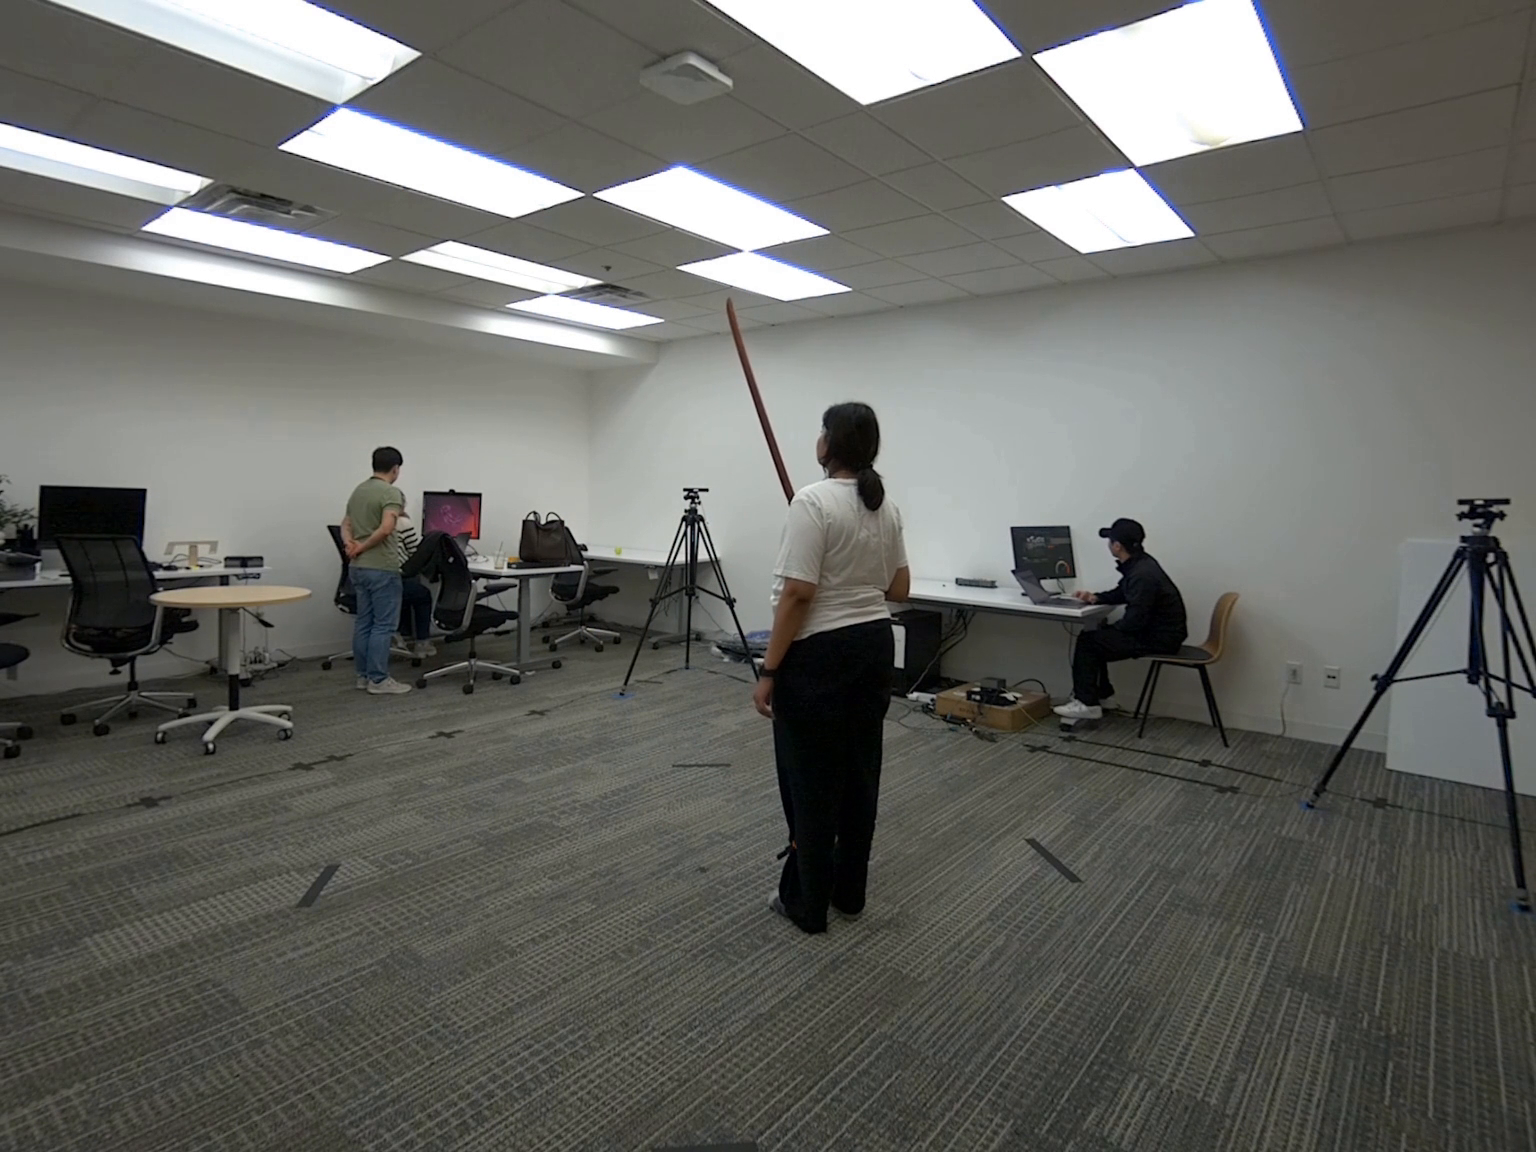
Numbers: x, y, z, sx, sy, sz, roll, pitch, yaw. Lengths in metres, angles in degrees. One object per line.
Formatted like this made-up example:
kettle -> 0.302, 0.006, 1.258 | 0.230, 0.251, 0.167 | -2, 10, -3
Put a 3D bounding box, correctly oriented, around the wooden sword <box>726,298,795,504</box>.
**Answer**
wooden sword -> -0.005, -0.512, 3.038 | 0.050, 1.029, 0.024 | -16, -4, -32
